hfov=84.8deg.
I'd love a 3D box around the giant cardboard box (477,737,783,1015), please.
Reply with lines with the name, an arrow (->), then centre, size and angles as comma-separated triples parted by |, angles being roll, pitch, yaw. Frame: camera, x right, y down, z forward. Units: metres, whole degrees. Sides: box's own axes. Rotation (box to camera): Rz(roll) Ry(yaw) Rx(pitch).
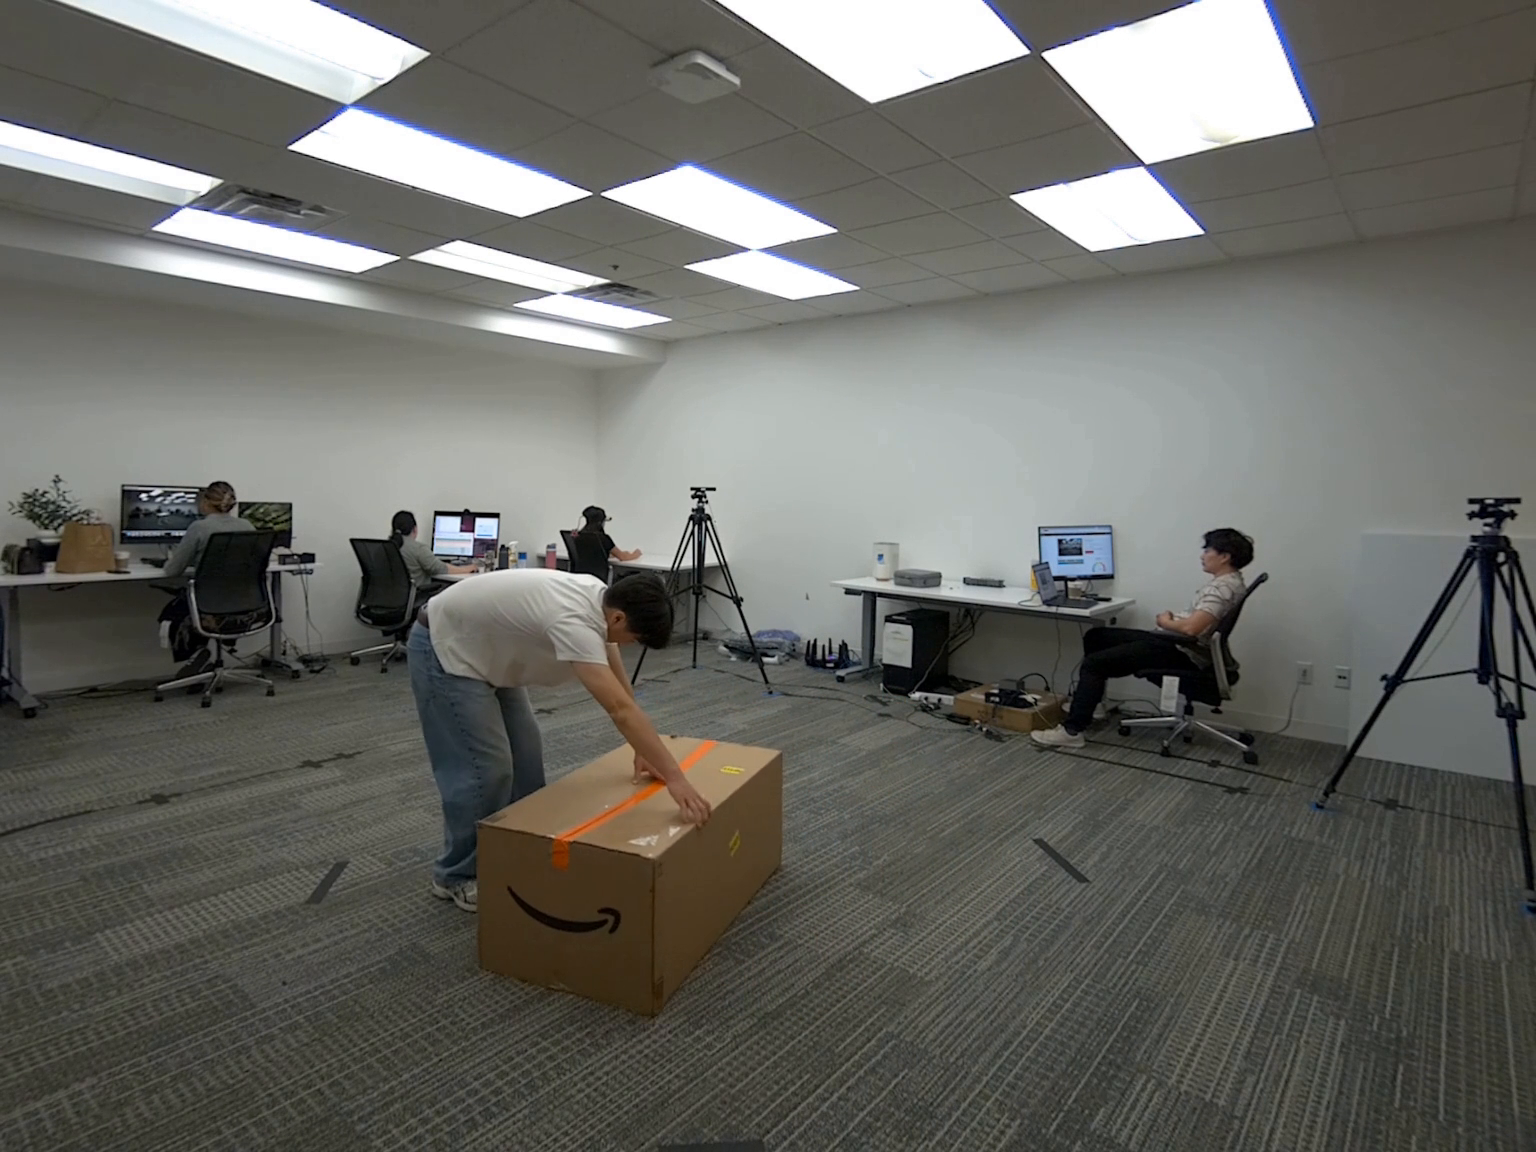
giant cardboard box -> -0.397, 0.881, 2.785 | 0.591, 0.424, 1.007 | 3, 6, 20
